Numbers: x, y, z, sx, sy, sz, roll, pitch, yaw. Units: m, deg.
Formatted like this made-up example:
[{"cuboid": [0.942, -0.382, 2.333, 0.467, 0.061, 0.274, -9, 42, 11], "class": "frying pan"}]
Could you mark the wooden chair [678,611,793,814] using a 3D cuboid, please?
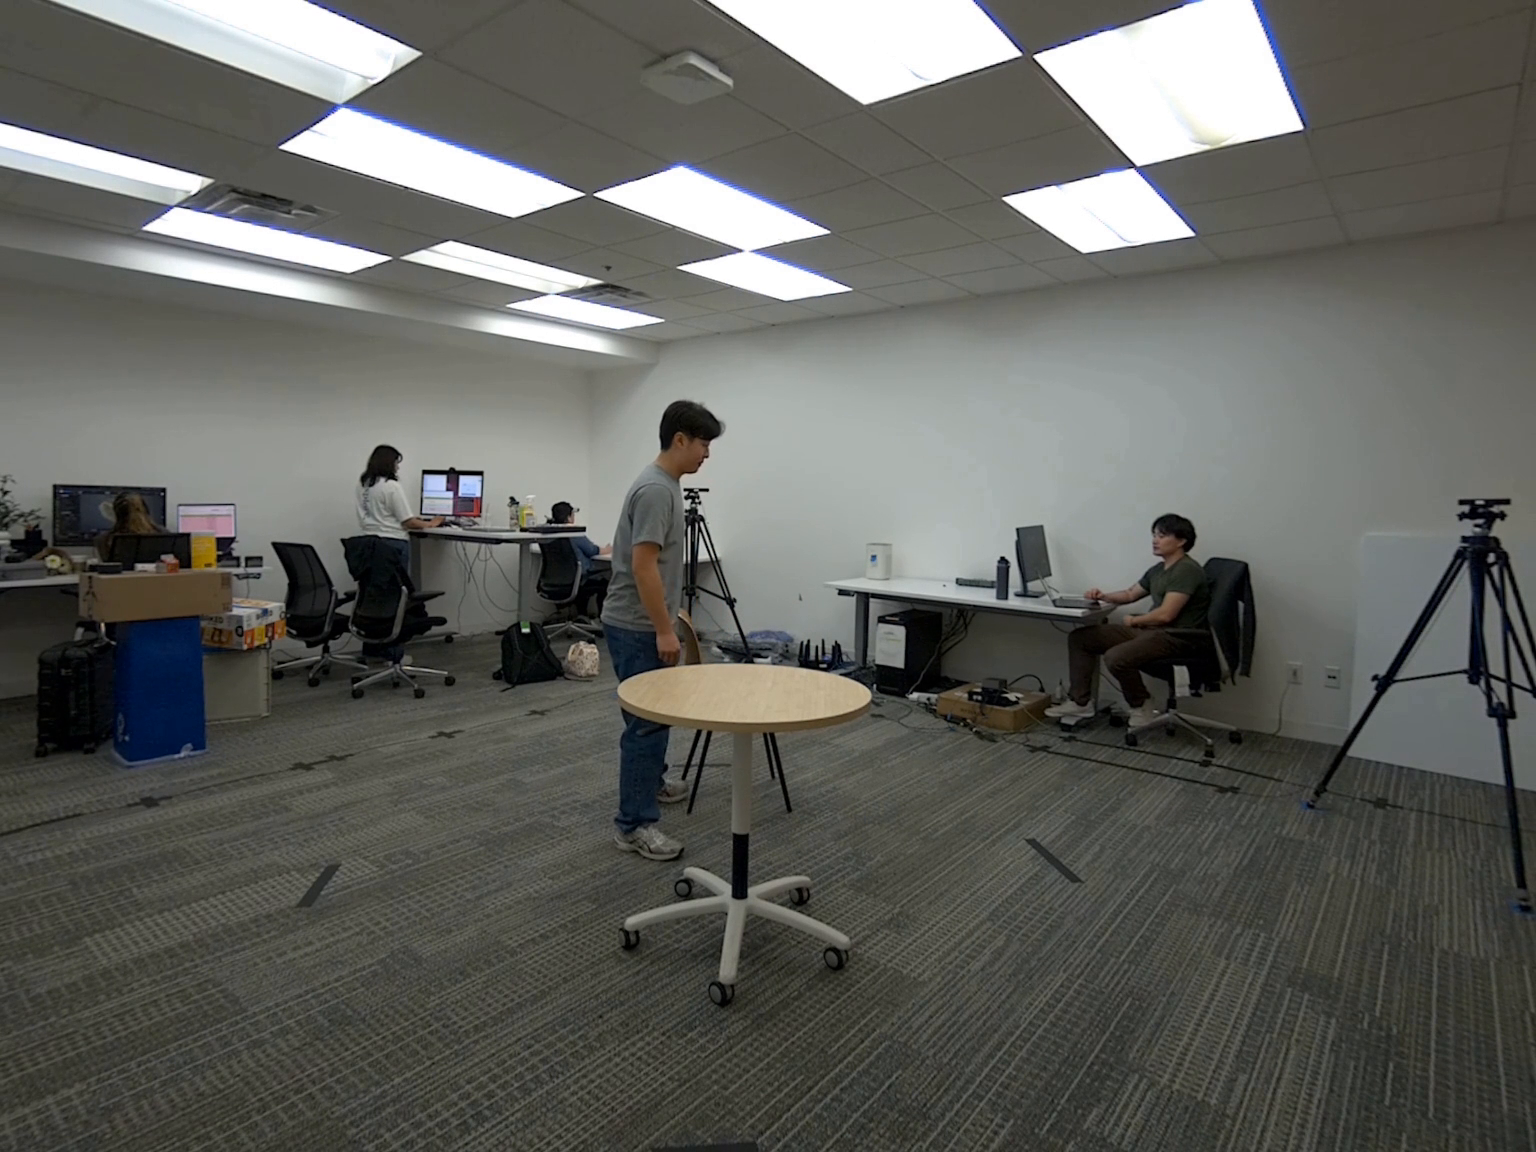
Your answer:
[{"cuboid": [-0.151, 0.569, 3.853, 0.520, 0.875, 0.482, -3, 3, -7], "class": "wooden chair"}]
